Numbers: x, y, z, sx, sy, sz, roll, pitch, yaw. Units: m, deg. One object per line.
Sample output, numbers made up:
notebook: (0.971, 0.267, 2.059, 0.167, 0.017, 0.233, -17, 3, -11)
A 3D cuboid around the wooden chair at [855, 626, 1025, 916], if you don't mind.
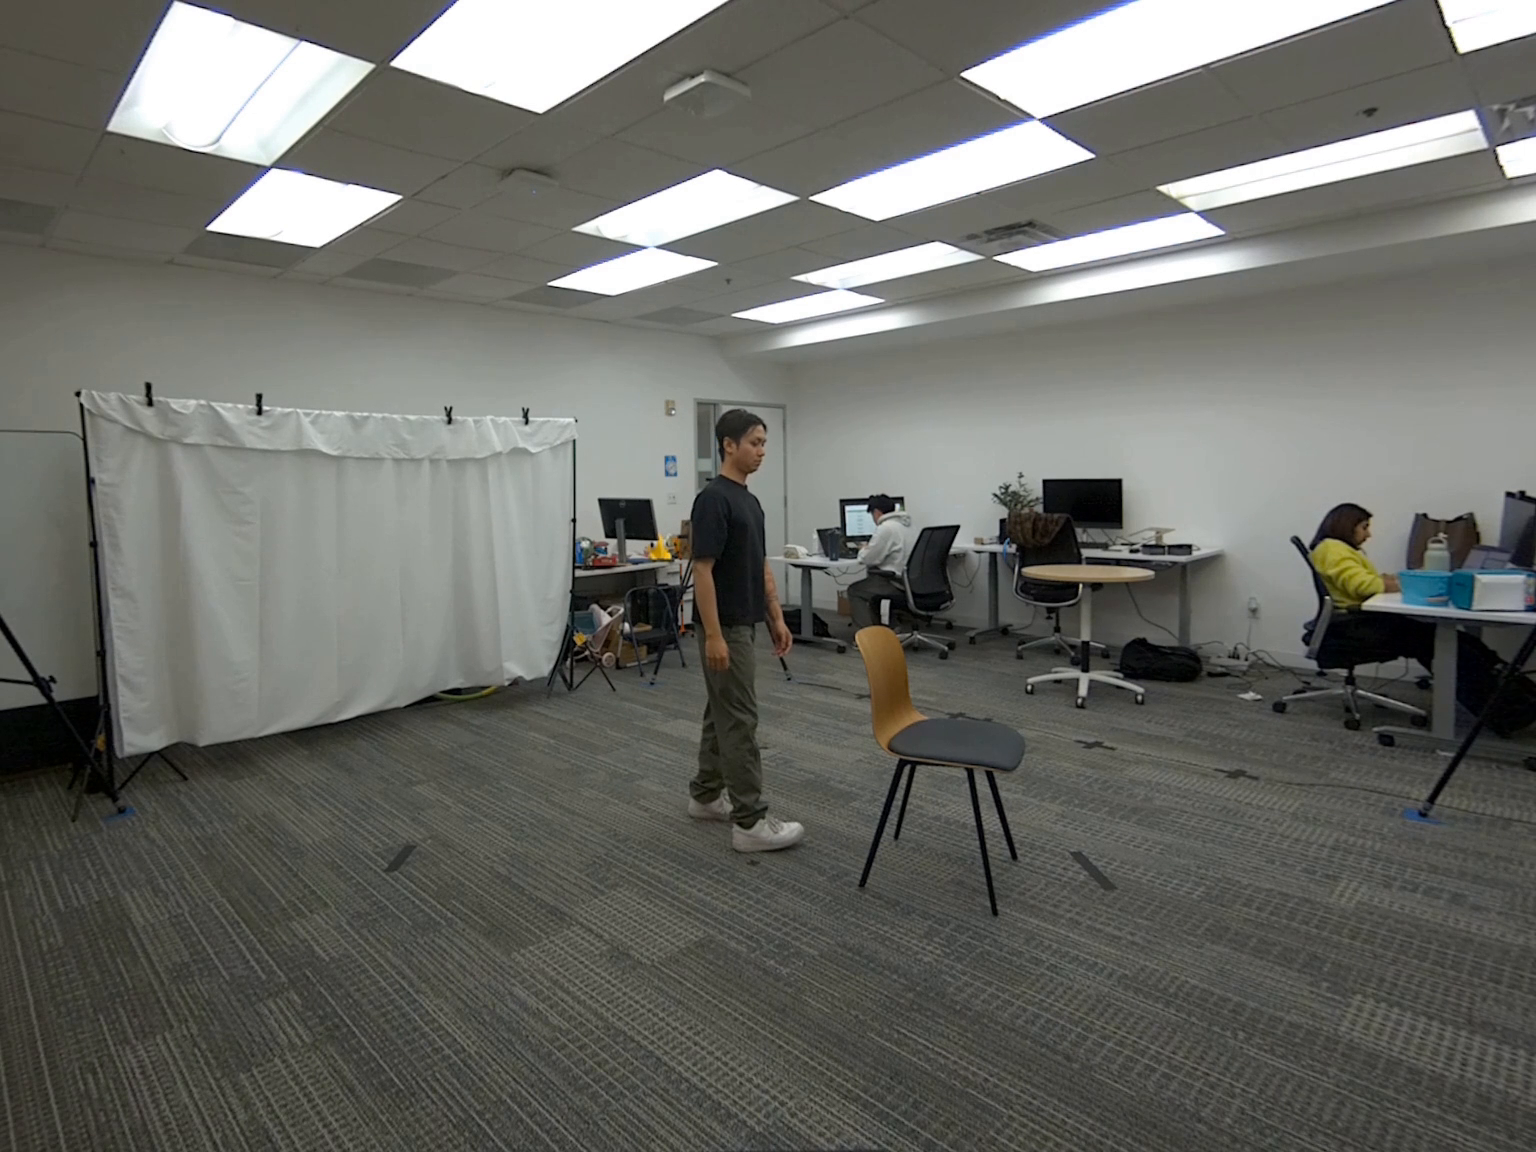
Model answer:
wooden chair: (0.608, 0.616, 2.964, 0.535, 0.876, 0.468, -4, 2, 26)
